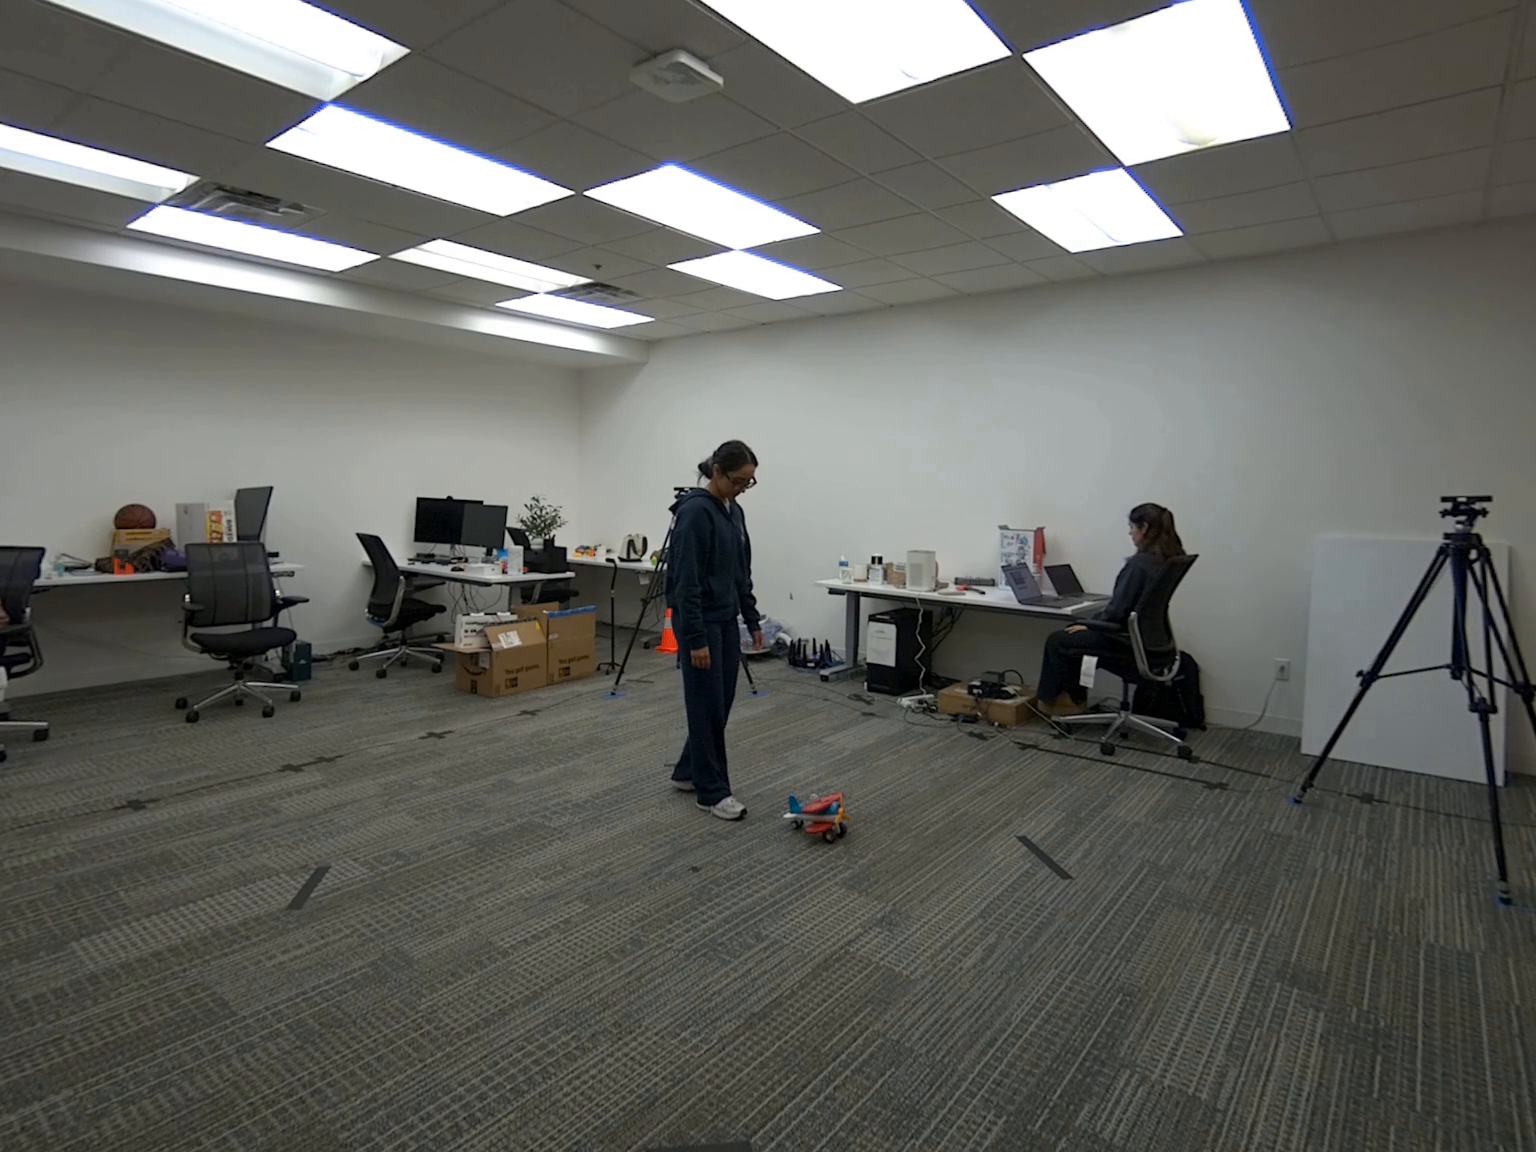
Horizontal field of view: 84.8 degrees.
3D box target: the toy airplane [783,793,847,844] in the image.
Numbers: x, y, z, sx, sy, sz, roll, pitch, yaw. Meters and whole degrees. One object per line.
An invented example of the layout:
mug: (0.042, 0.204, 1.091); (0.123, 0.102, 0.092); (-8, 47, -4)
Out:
toy airplane: (0.176, 0.966, 3.426); (0.261, 0.156, 0.250); (3, 4, 7)
